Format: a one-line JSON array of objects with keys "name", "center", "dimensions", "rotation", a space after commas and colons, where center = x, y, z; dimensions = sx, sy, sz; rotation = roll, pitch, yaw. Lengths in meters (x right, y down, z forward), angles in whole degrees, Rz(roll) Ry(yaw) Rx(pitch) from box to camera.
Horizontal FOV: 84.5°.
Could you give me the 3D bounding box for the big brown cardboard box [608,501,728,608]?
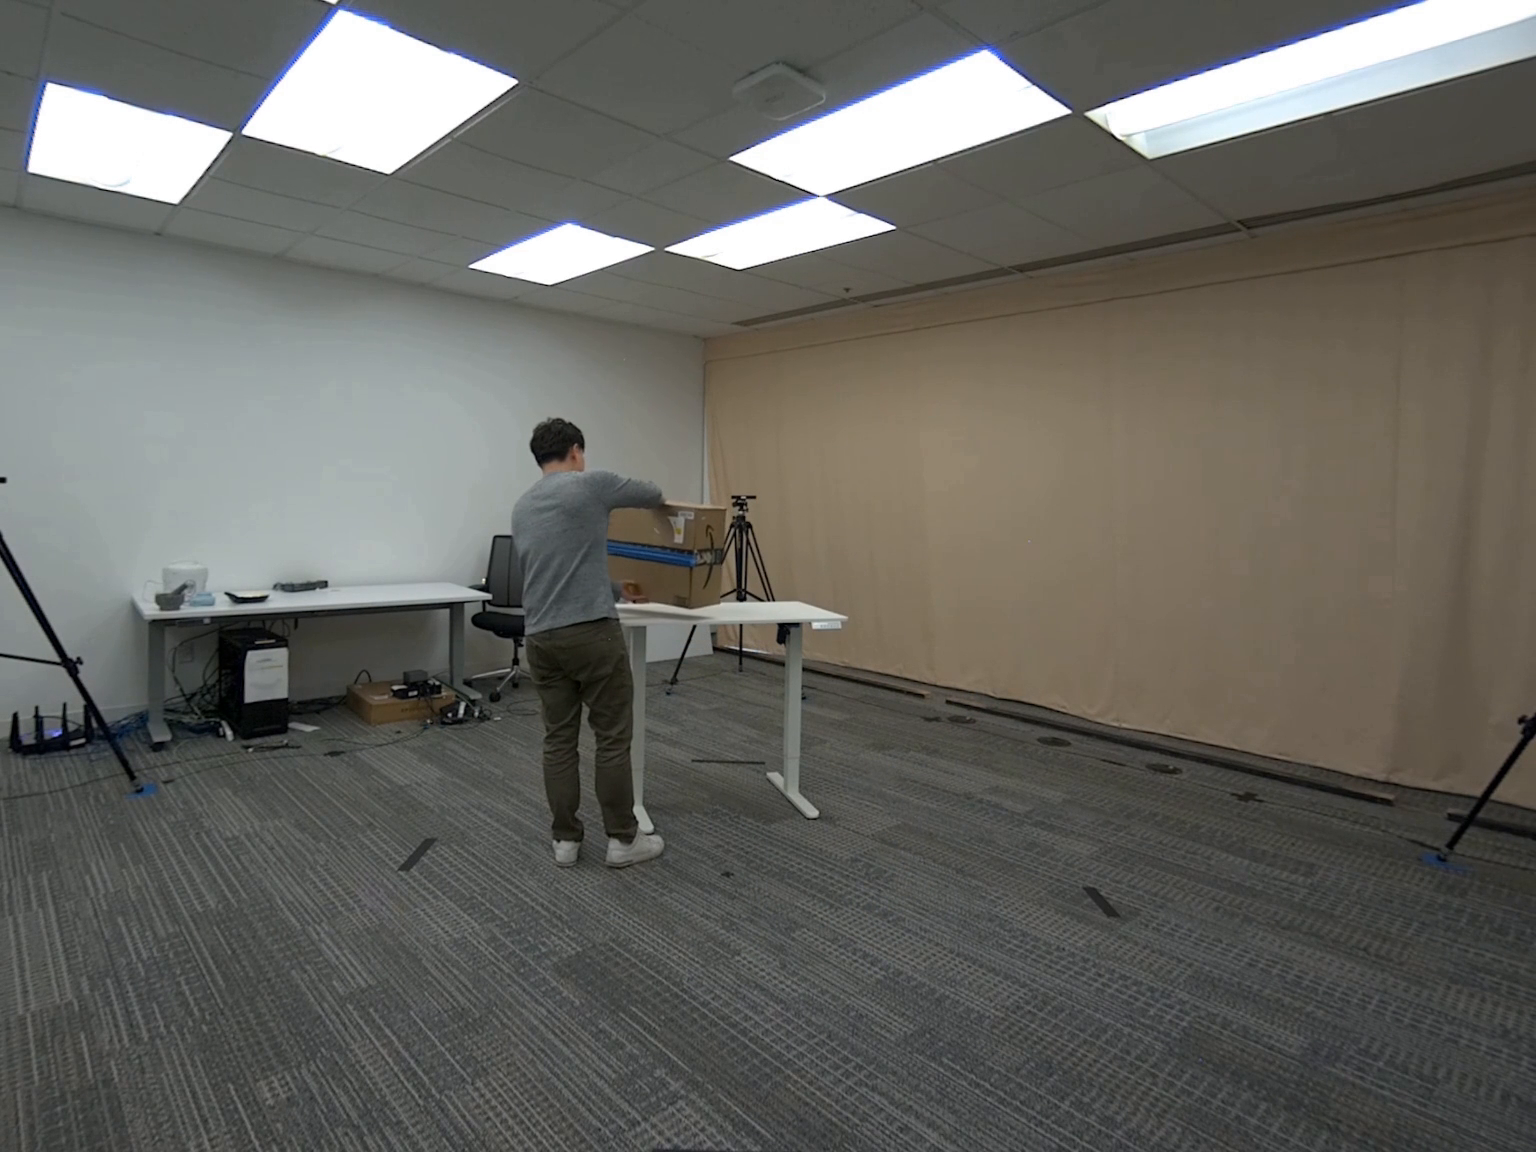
[{"name": "big brown cardboard box", "center": [-0.473, -0.108, 3.609], "dimensions": [0.604, 0.416, 0.228], "rotation": [8, 8, 35]}]
